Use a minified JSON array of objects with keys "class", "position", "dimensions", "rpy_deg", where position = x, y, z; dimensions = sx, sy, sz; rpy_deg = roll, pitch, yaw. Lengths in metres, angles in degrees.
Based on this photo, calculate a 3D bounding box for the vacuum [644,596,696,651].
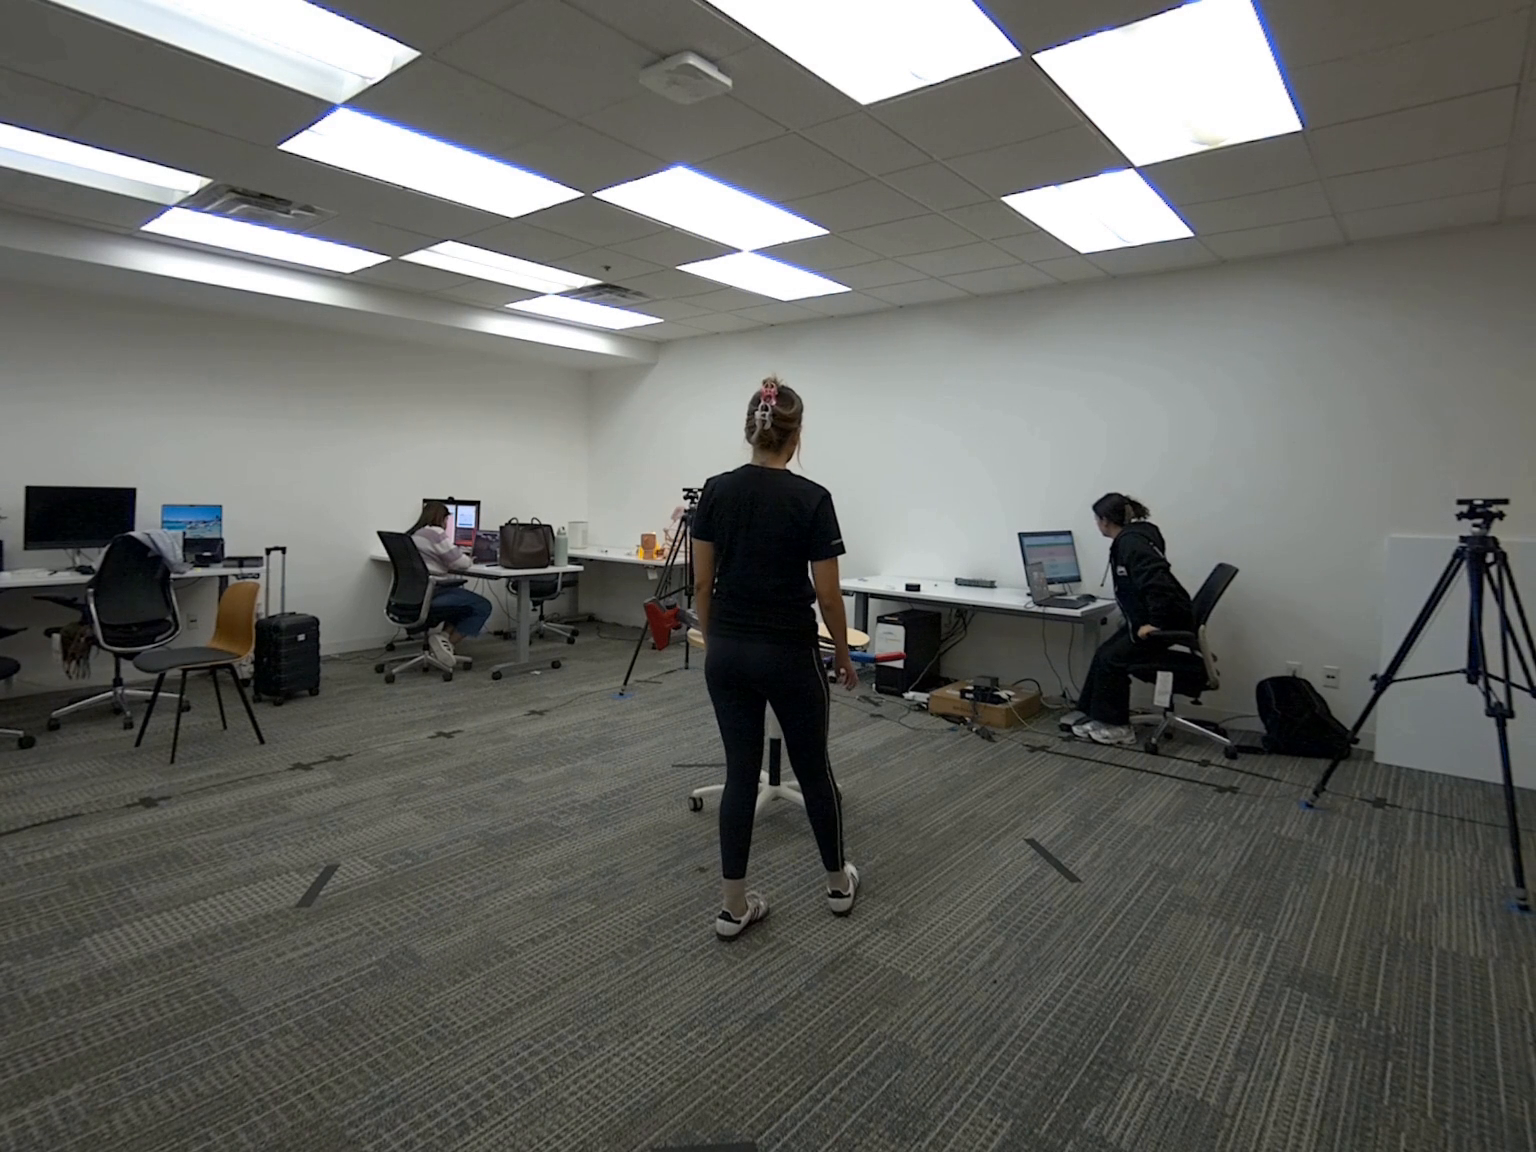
[{"class":"vacuum","position":[0.005,0.239,3.336],"dimensions":[1.080,0.245,0.144],"rpy_deg":[6,36,29]}]
